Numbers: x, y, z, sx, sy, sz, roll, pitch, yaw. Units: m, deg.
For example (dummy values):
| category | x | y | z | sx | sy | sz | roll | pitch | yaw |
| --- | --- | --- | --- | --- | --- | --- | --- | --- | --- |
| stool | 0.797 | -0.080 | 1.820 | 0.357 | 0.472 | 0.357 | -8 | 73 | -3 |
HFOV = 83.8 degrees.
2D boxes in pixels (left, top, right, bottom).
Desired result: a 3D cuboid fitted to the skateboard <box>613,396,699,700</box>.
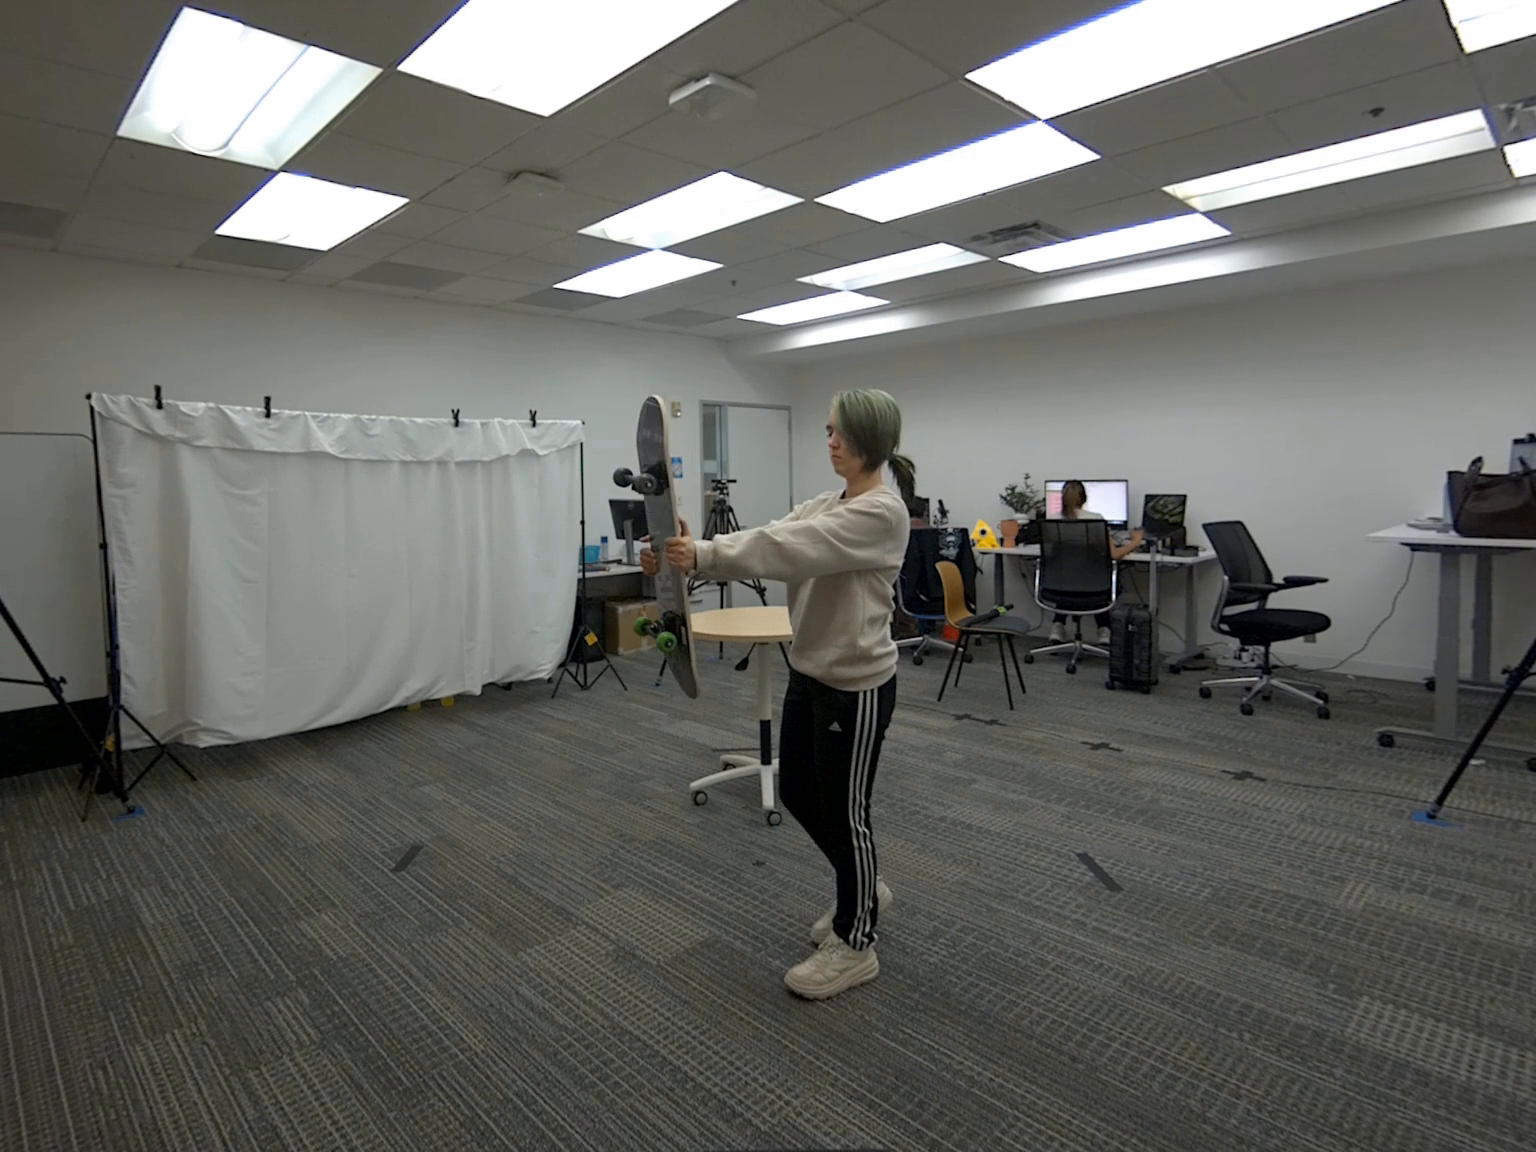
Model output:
| category | x | y | z | sx | sy | sz | roll | pitch | yaw |
| --- | --- | --- | --- | --- | --- | --- | --- | --- | --- |
| skateboard | -0.270 | -0.050 | 2.148 | 0.108 | 0.774 | 0.199 | -14 | 15 | -26 |
